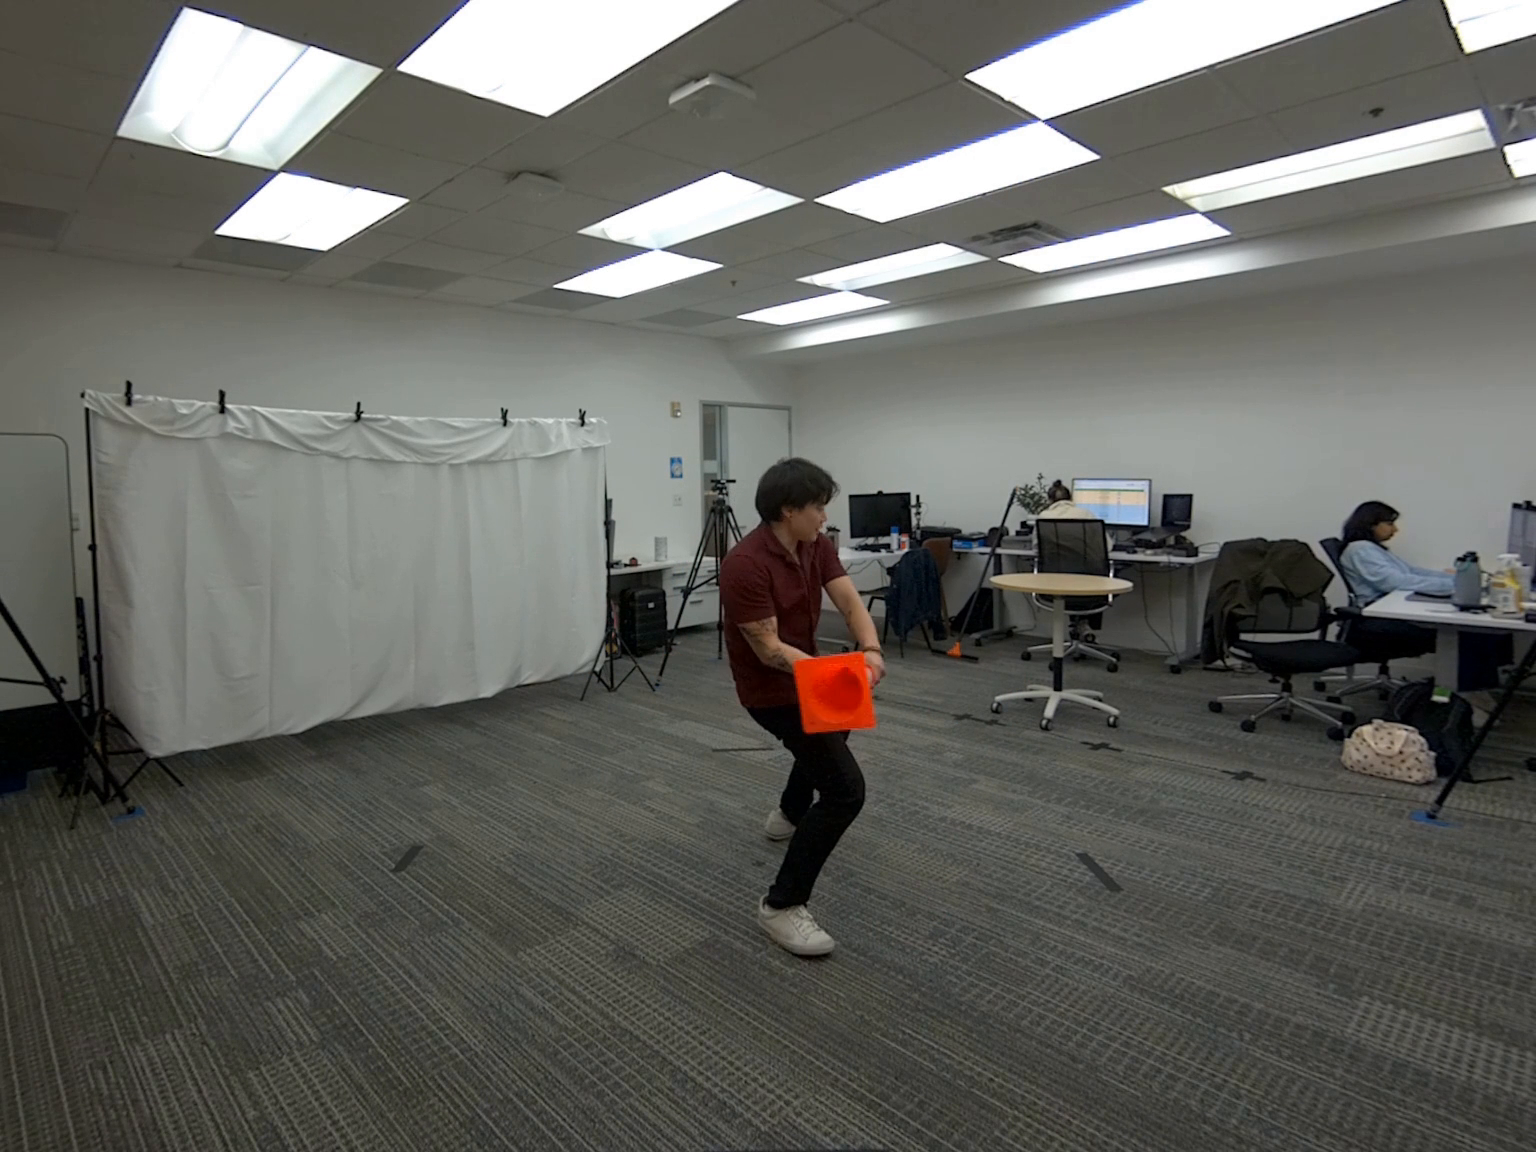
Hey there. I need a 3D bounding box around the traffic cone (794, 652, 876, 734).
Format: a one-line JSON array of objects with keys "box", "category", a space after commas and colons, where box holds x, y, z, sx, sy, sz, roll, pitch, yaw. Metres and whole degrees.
[{"box": [0.240, 0.302, 2.457, 0.207, 0.205, 0.377, -3, 1, 19], "category": "traffic cone"}]
